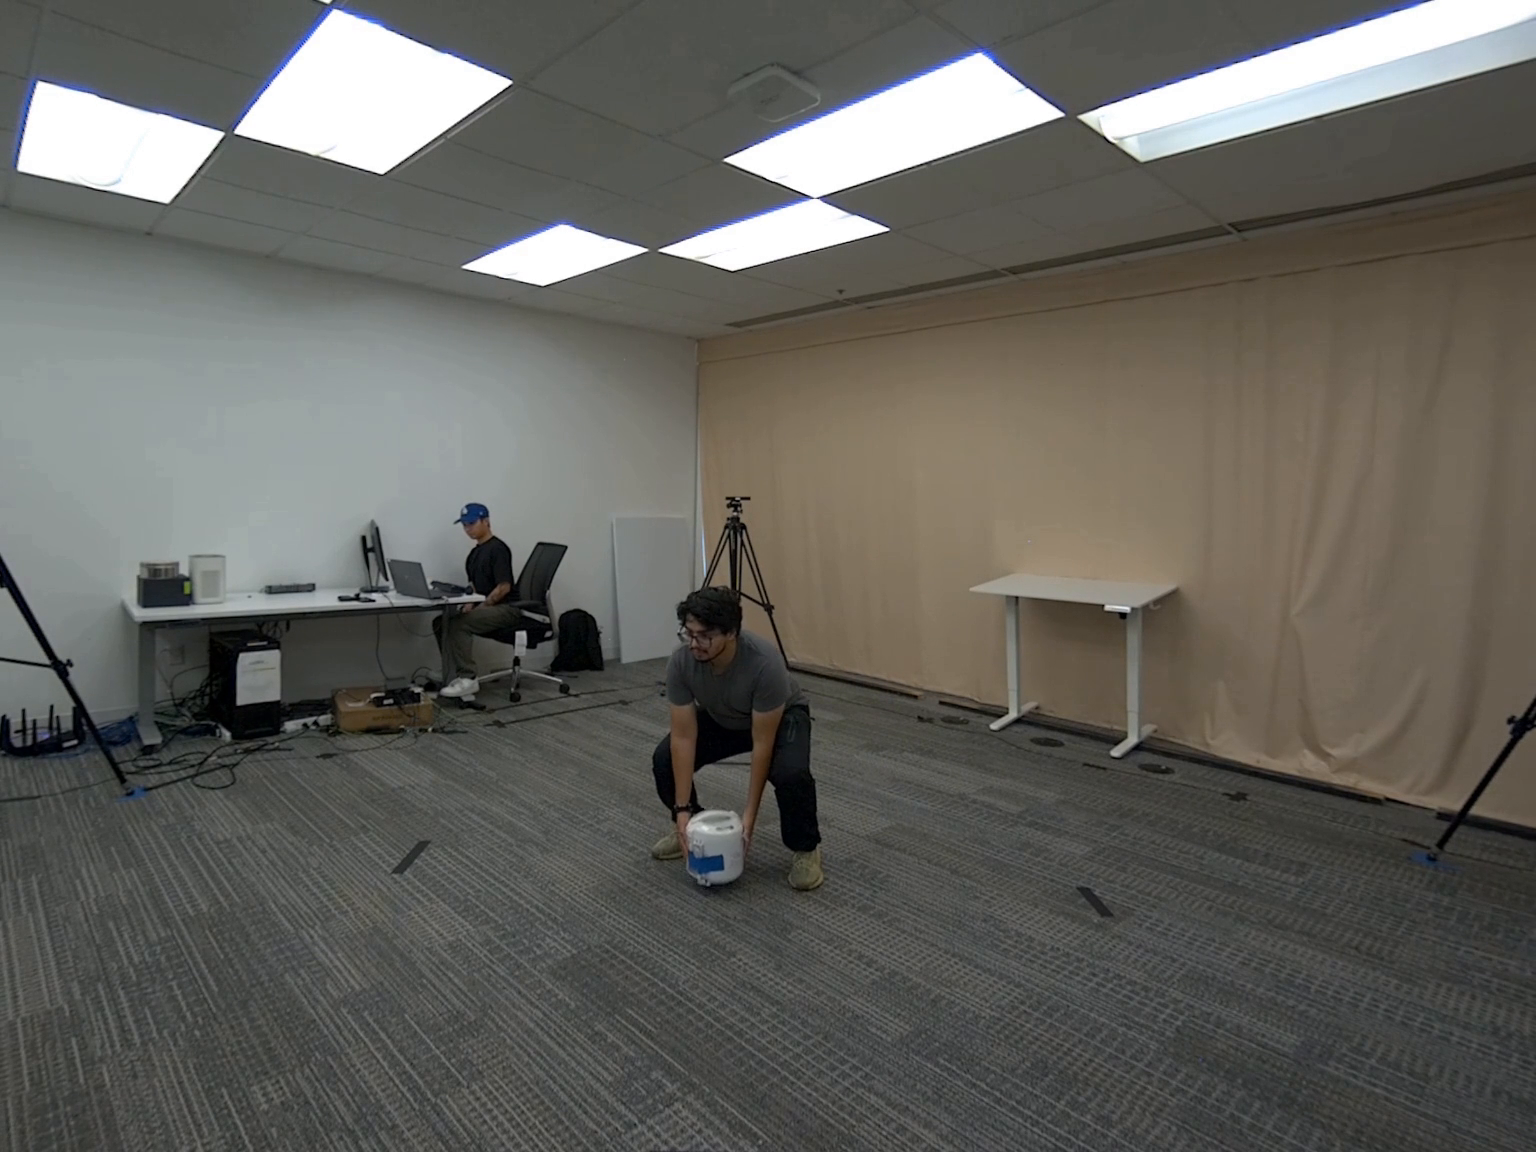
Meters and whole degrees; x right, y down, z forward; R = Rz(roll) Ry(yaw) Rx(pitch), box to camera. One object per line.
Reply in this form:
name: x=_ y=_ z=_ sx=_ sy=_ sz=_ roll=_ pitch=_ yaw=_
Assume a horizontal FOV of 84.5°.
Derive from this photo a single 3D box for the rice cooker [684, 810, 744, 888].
rice cooker: x=-0.199 y=0.953 z=3.018 sx=0.217 sy=0.232 sz=0.221 roll=3 pitch=4 yaw=-21
